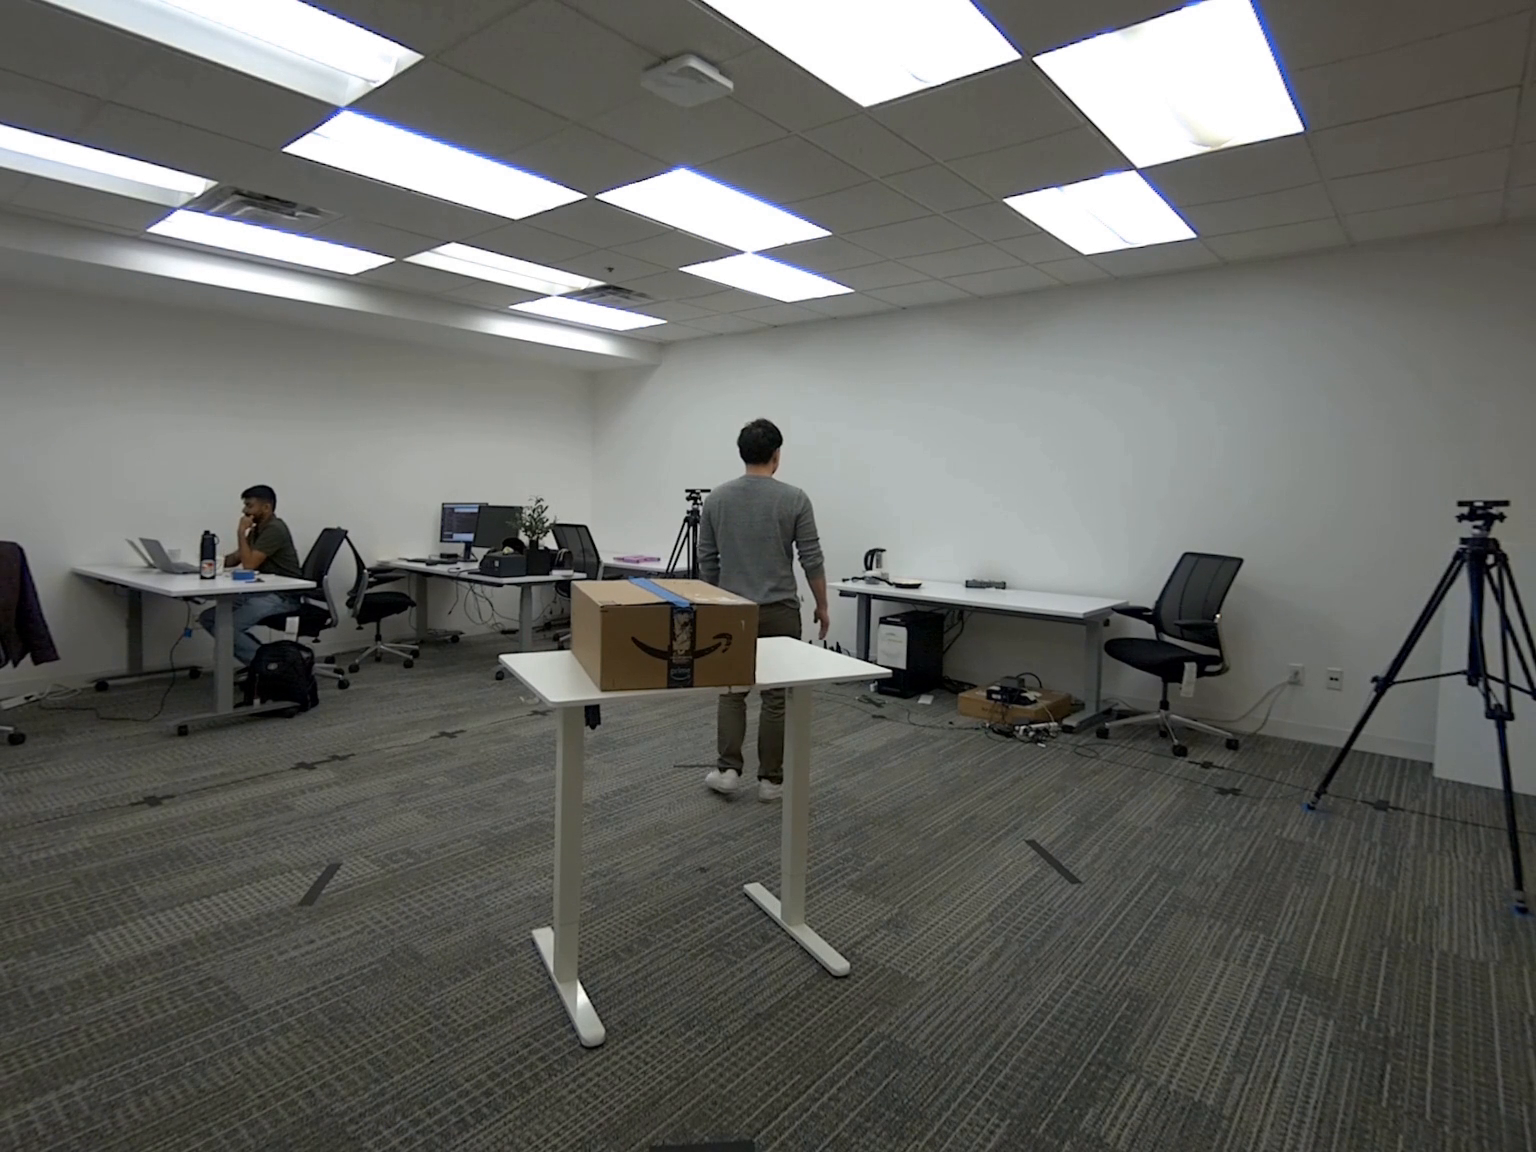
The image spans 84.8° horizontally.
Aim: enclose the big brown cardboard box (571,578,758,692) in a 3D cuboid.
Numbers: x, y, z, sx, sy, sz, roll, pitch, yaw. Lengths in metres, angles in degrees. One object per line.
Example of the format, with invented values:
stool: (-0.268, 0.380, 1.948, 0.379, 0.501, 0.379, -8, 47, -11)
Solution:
big brown cardboard box: (-0.321, 0.143, 2.433, 0.410, 0.232, 0.602, 0, 5, -19)
